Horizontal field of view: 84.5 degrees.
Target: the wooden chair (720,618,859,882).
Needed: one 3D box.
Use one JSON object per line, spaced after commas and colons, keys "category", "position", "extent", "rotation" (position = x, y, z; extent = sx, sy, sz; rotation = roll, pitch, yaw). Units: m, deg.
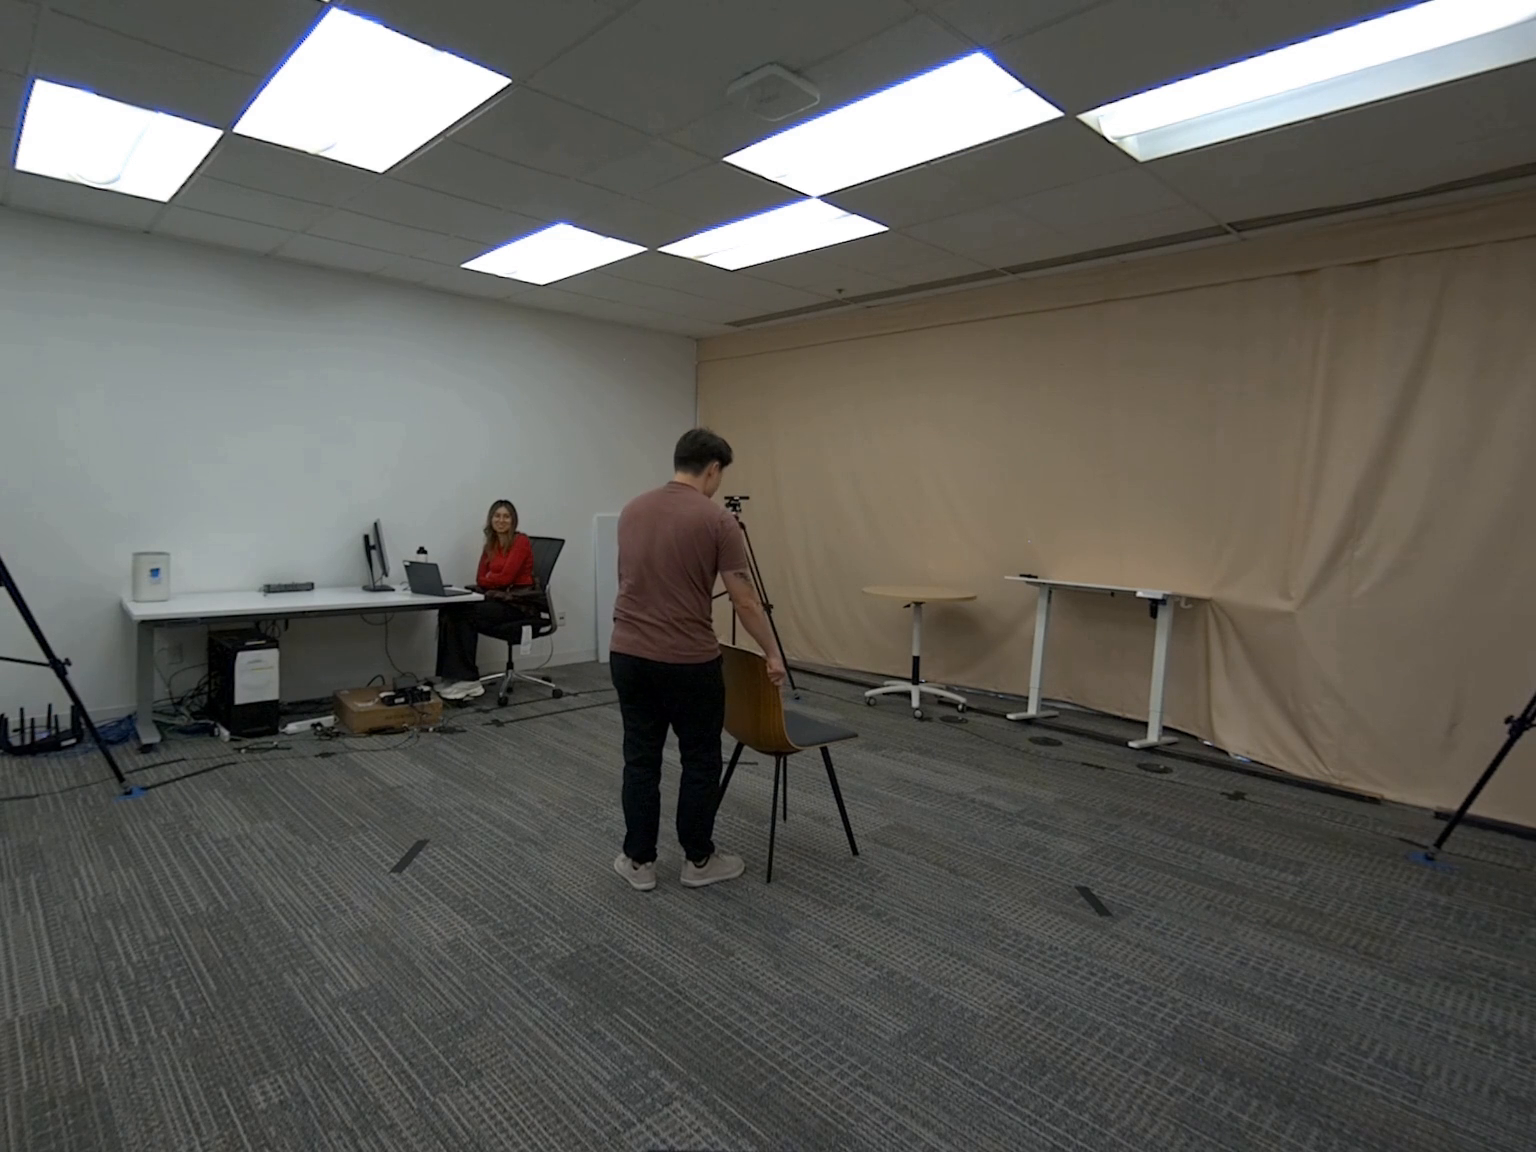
{"category": "wooden chair", "position": [0.051, 0.661, 3.335], "extent": [0.512, 0.874, 0.490], "rotation": [-6, 7, -37]}
